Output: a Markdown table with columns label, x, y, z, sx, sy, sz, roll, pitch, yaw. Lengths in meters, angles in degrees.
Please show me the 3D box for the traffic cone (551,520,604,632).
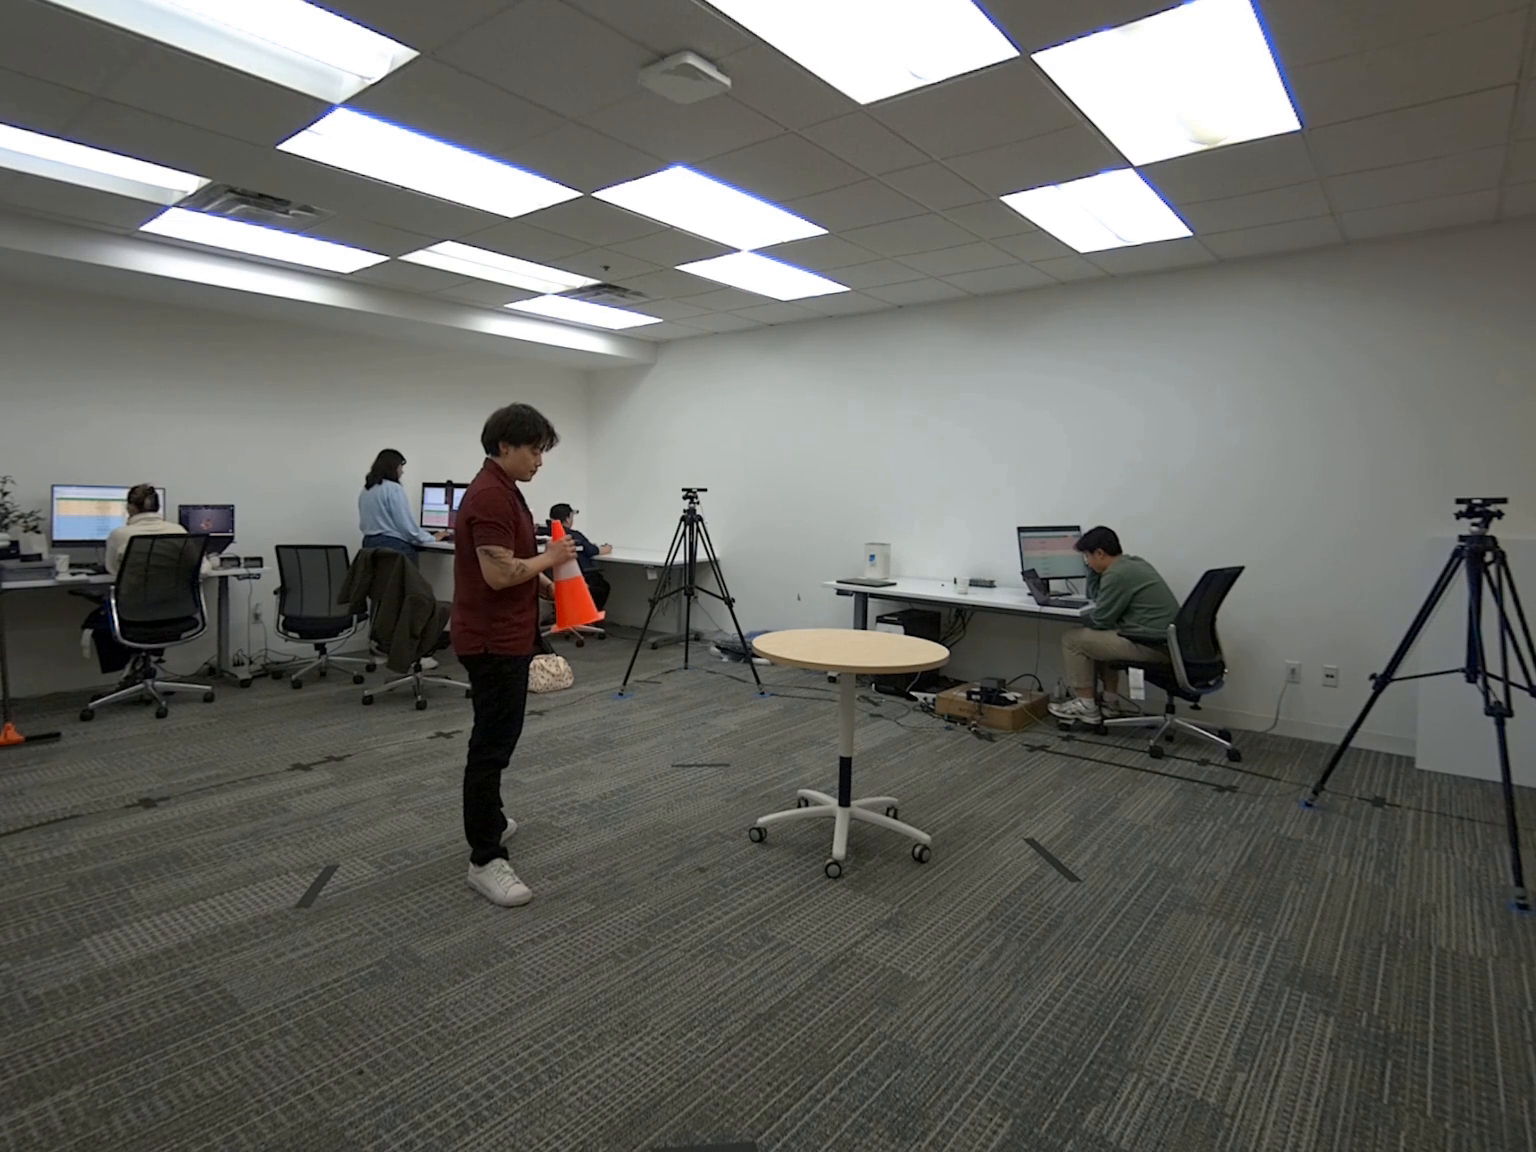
| label | x | y | z | sx | sy | sz | roll | pitch | yaw |
| --- | --- | --- | --- | --- | --- | --- | --- | --- | --- |
| traffic cone | -0.759 | -0.012 | 3.105 | 0.204 | 0.382 | 0.205 | -12 | 5 | 2 |
